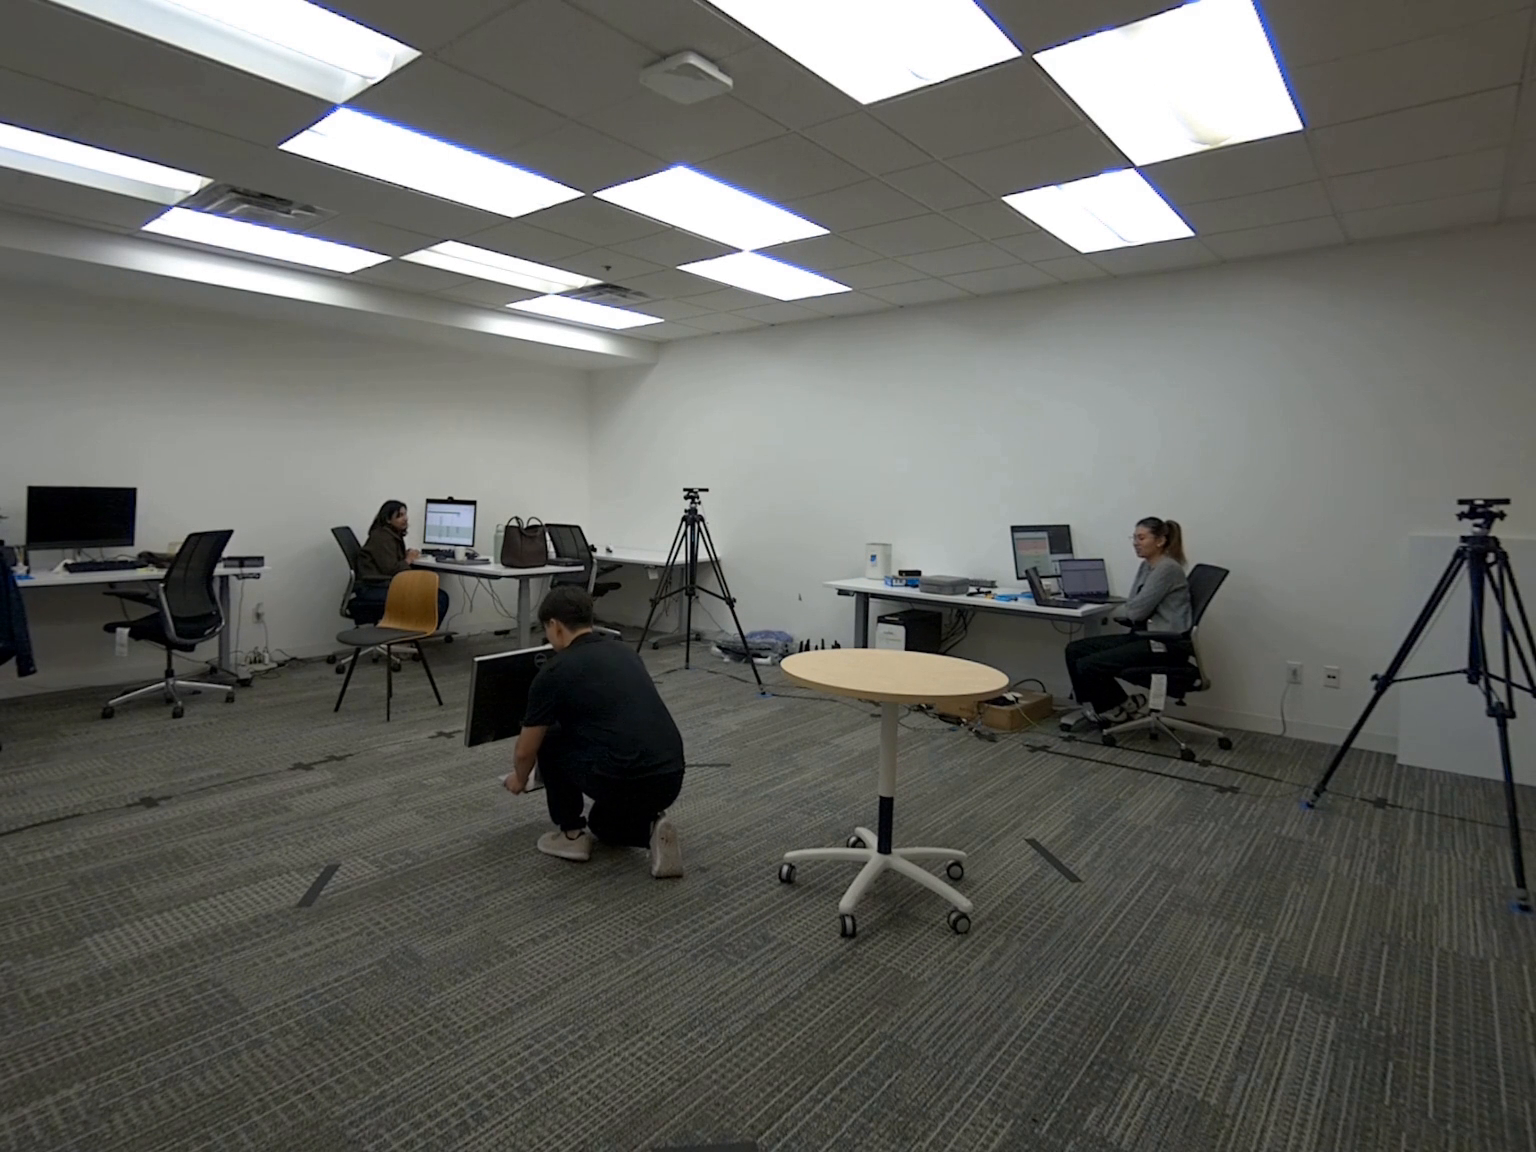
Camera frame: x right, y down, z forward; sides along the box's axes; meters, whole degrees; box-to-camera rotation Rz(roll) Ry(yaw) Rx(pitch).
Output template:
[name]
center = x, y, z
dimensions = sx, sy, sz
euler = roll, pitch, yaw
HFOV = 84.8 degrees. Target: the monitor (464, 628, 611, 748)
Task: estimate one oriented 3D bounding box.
[monitor]
center = -0.949, 0.555, 3.427
dimensions = 0.193, 0.520, 0.523
euler = 5, 7, 43
